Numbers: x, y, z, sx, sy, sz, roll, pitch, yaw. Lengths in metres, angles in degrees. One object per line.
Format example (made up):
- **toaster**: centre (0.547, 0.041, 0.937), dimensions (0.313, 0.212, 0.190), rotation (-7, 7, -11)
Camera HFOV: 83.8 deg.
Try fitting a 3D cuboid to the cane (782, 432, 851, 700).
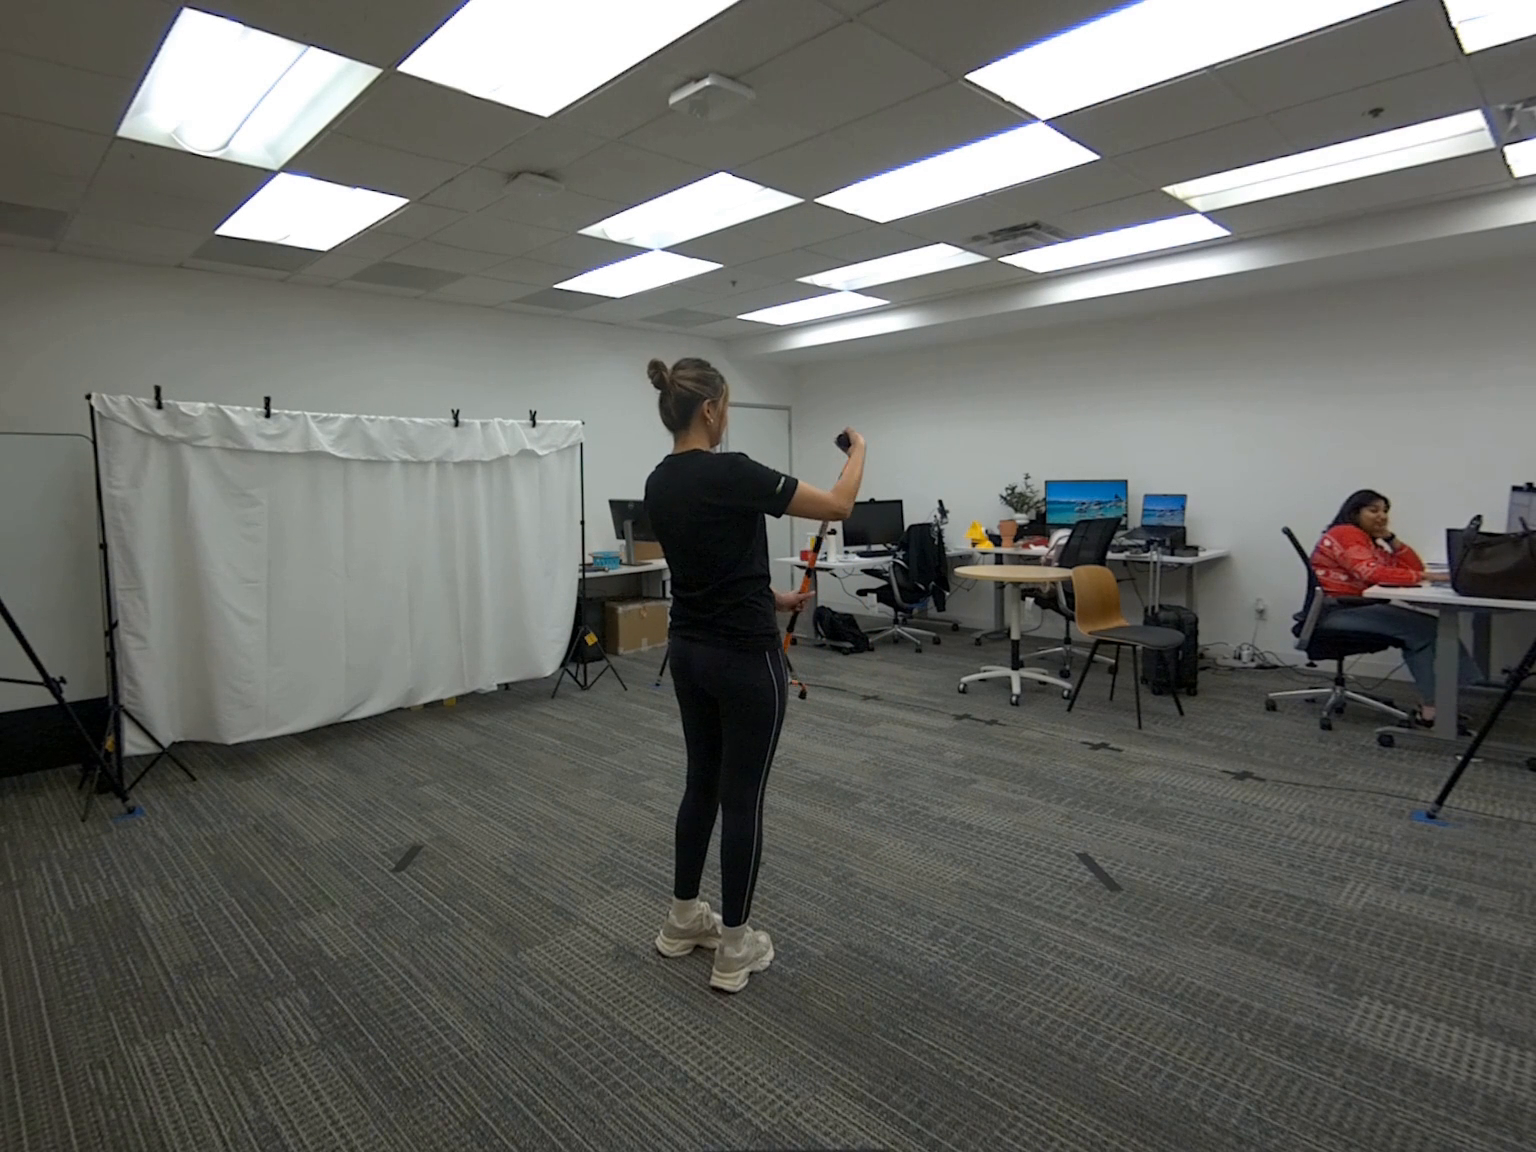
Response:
- **cane**: centre (0.152, -0.009, 2.687), dimensions (0.155, 0.899, 0.204), rotation (21, 16, 17)
